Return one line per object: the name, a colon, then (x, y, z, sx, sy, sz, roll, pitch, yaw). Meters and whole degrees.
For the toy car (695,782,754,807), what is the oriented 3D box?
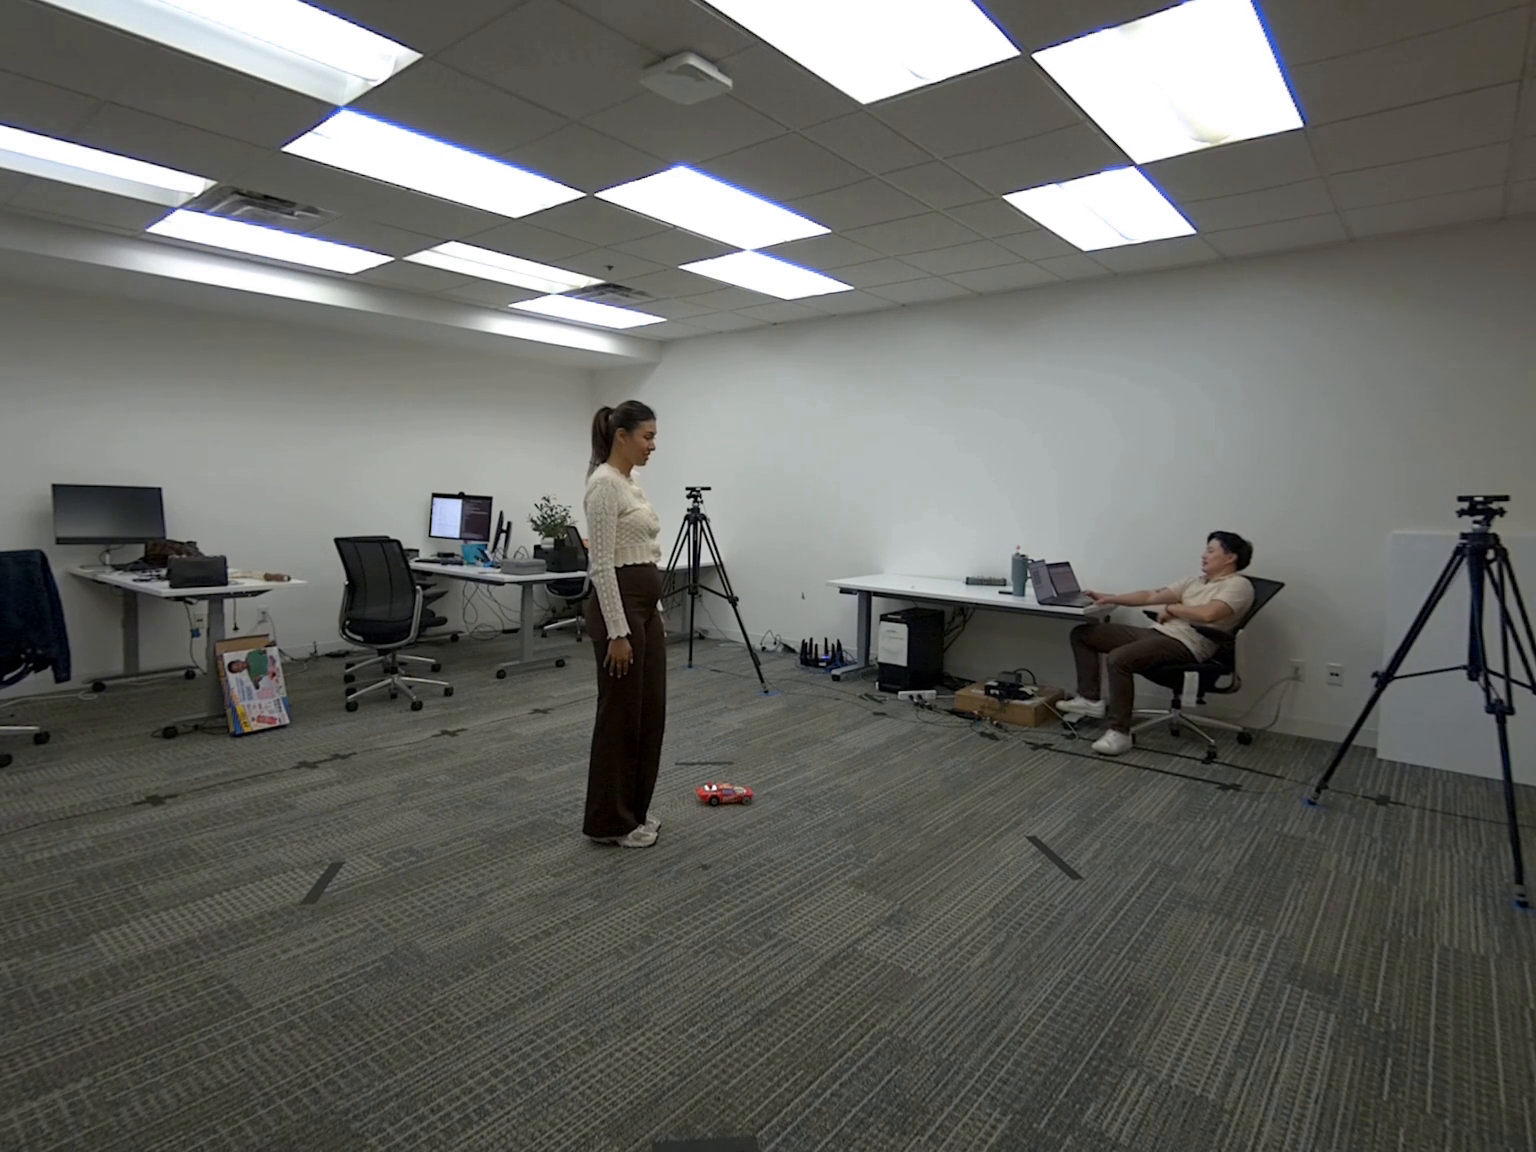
toy car: (-0.210, 0.968, 3.780, 0.251, 0.083, 0.132, 11, 3, -10)
